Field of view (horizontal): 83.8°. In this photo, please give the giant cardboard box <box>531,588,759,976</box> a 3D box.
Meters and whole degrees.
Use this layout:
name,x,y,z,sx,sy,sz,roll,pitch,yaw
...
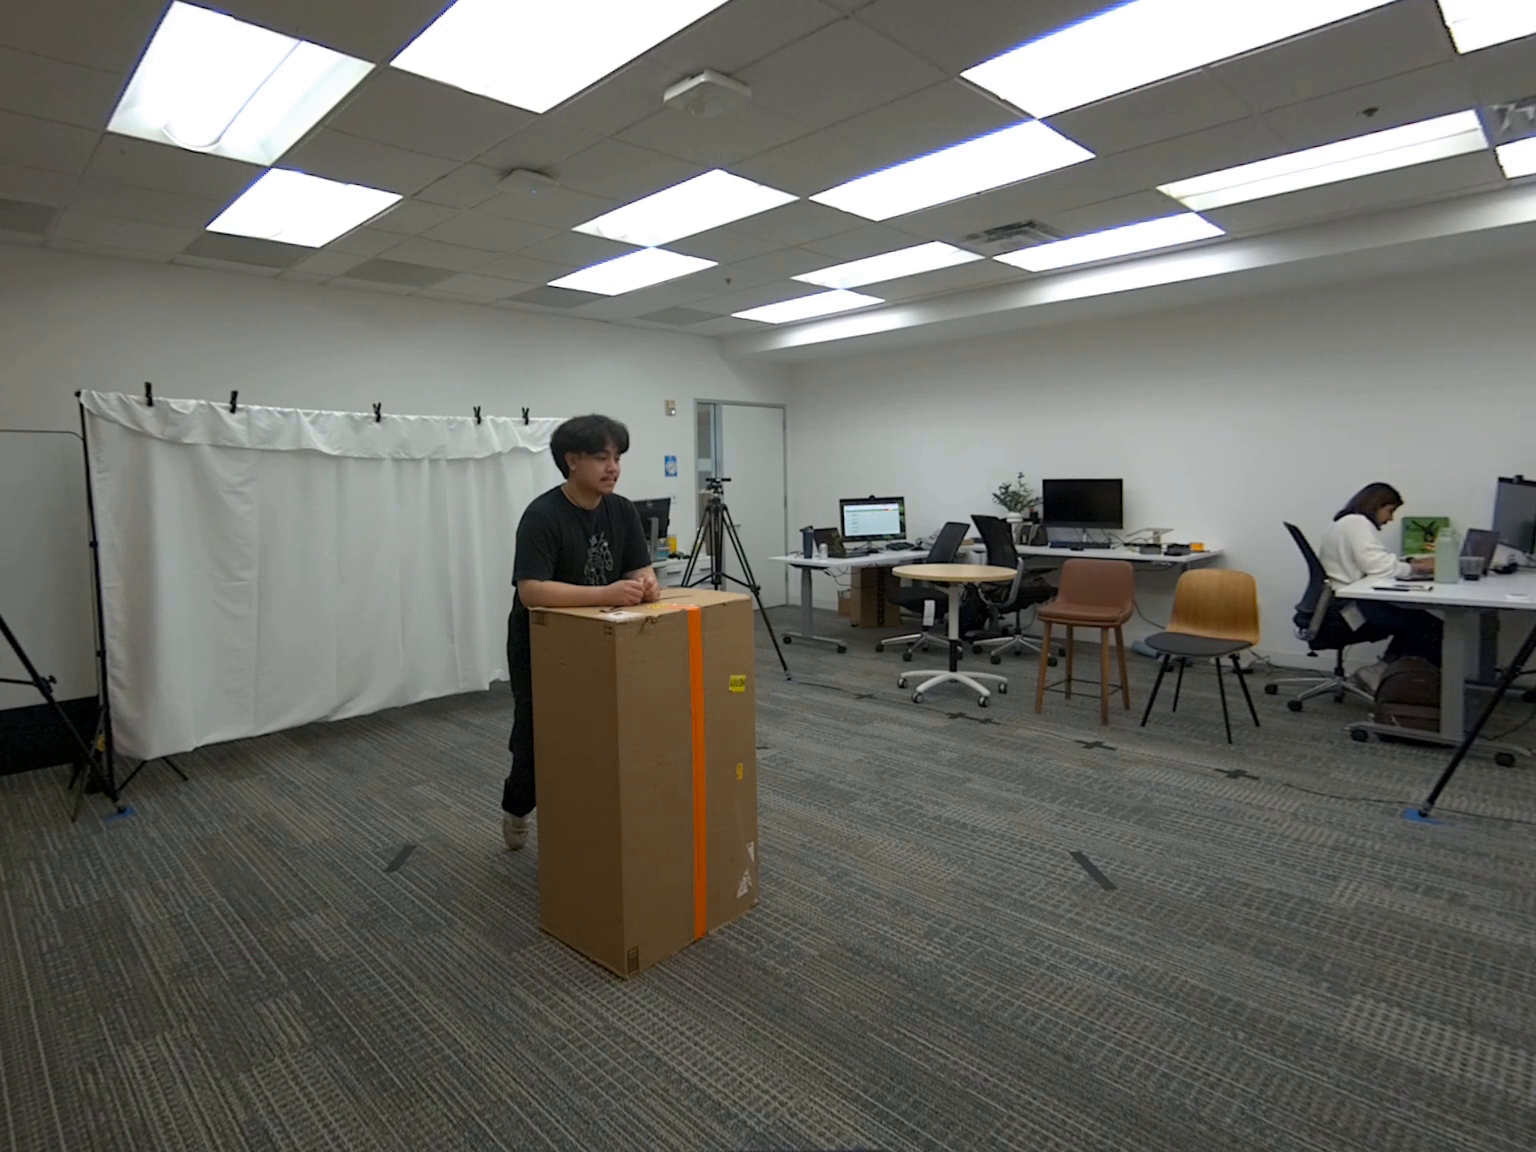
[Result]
name,x,y,z,sx,sy,sz,roll,pitch,yaw
giant cardboard box,-0.377,0.586,2.706,0.460,1.023,0.569,4,7,43
